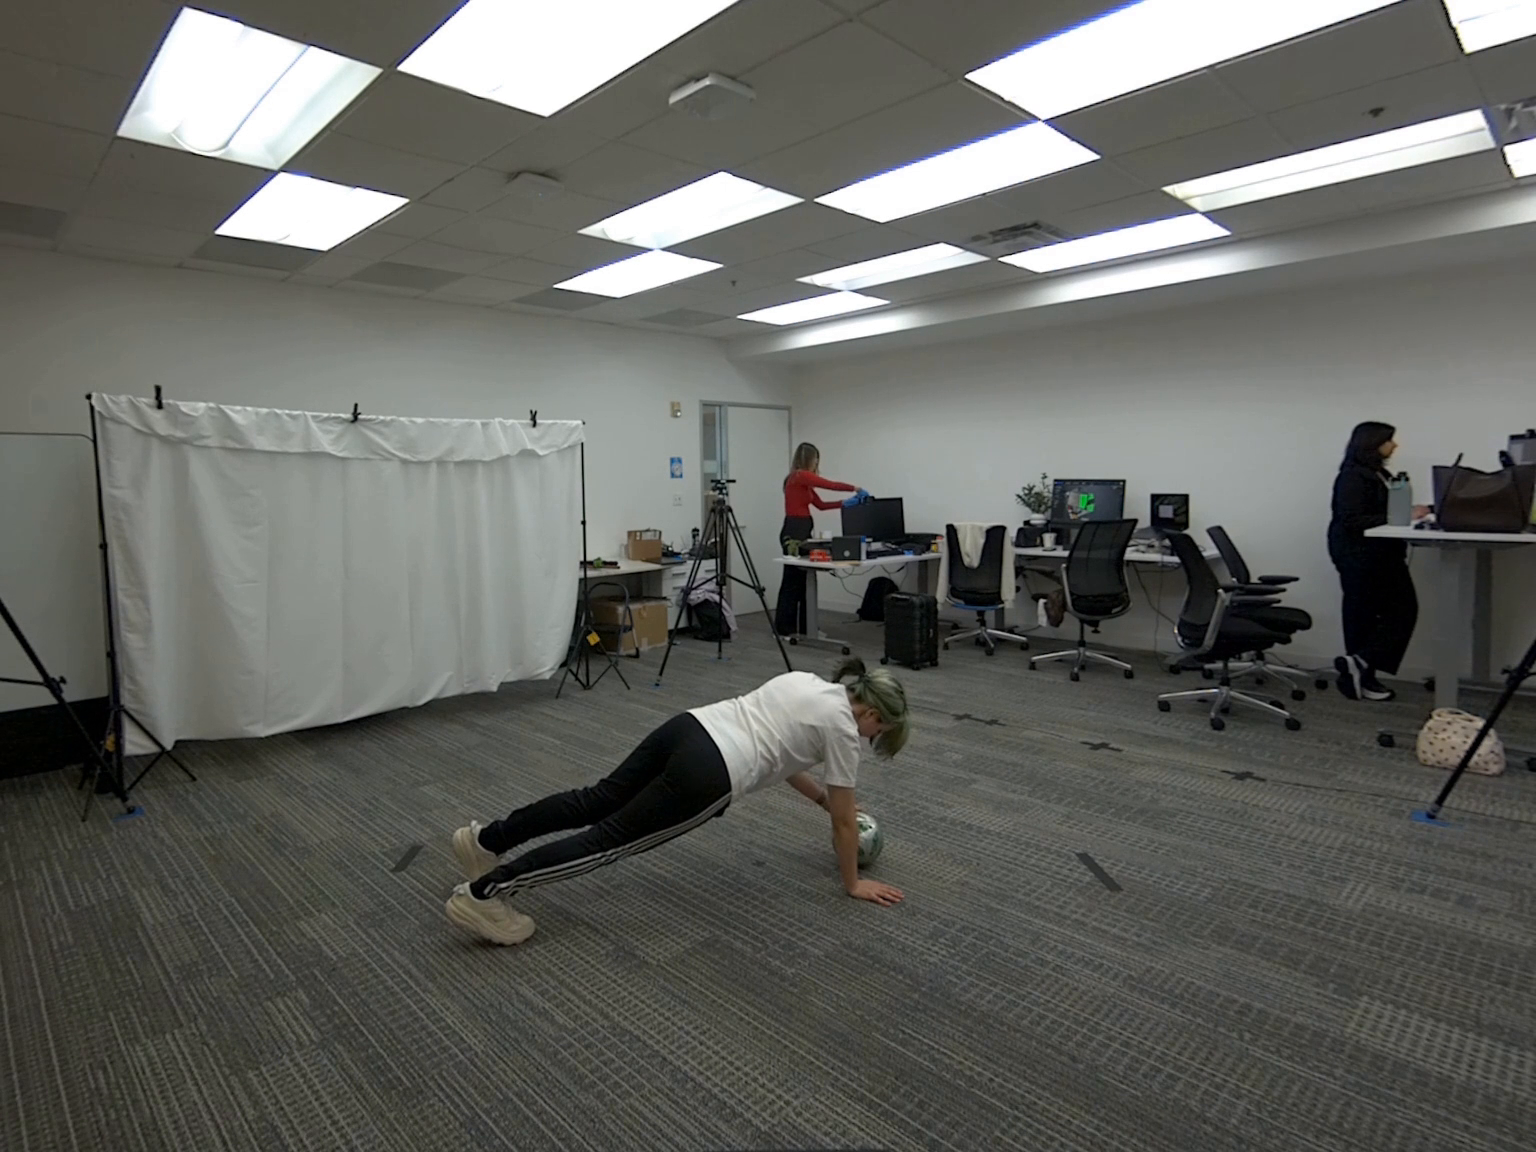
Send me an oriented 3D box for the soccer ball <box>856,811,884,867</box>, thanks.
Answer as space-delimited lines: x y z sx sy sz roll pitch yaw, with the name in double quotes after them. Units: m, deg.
0.317 0.946 3.089 0.187 0.187 0.188 -1 5 -2 "soccer ball"
